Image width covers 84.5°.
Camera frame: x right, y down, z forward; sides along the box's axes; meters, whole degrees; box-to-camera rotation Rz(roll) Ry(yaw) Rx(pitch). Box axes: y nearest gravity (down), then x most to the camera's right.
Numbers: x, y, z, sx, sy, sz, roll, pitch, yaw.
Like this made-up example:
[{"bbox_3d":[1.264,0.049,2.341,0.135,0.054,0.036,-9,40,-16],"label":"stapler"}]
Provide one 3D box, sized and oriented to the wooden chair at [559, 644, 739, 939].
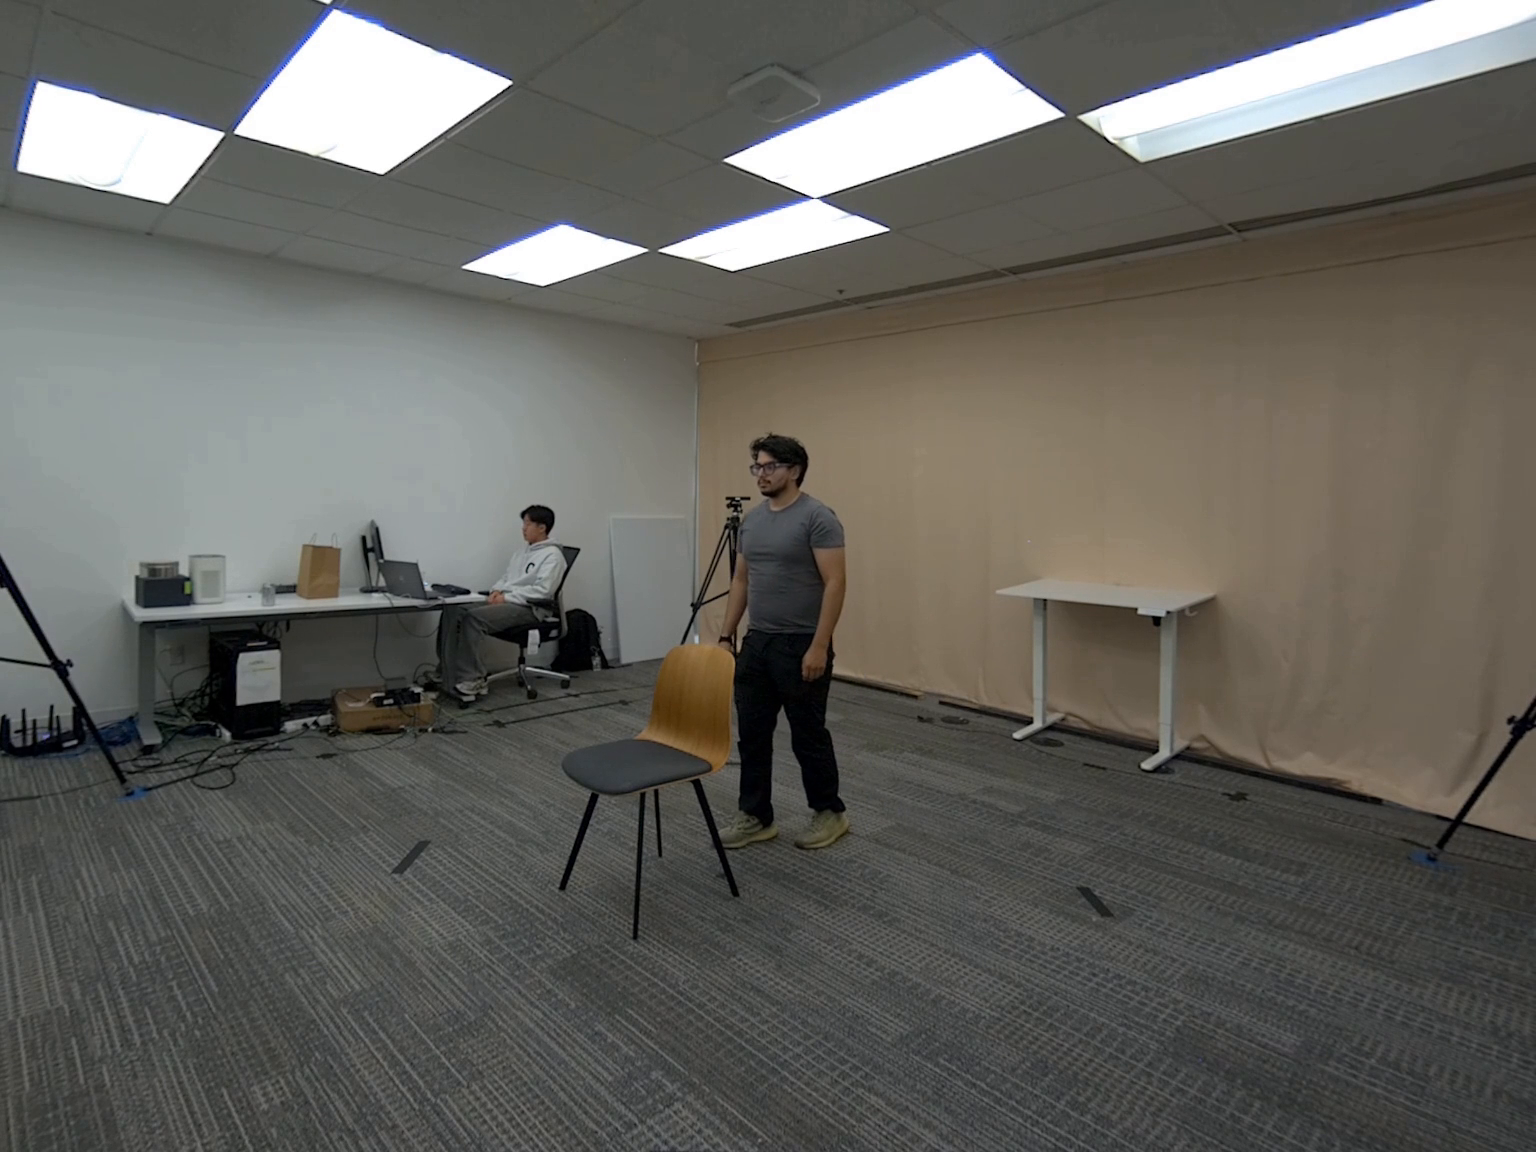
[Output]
[{"bbox_3d":[-0.420,0.692,2.914,0.510,0.877,0.490,4,1,-44],"label":"wooden chair"}]
